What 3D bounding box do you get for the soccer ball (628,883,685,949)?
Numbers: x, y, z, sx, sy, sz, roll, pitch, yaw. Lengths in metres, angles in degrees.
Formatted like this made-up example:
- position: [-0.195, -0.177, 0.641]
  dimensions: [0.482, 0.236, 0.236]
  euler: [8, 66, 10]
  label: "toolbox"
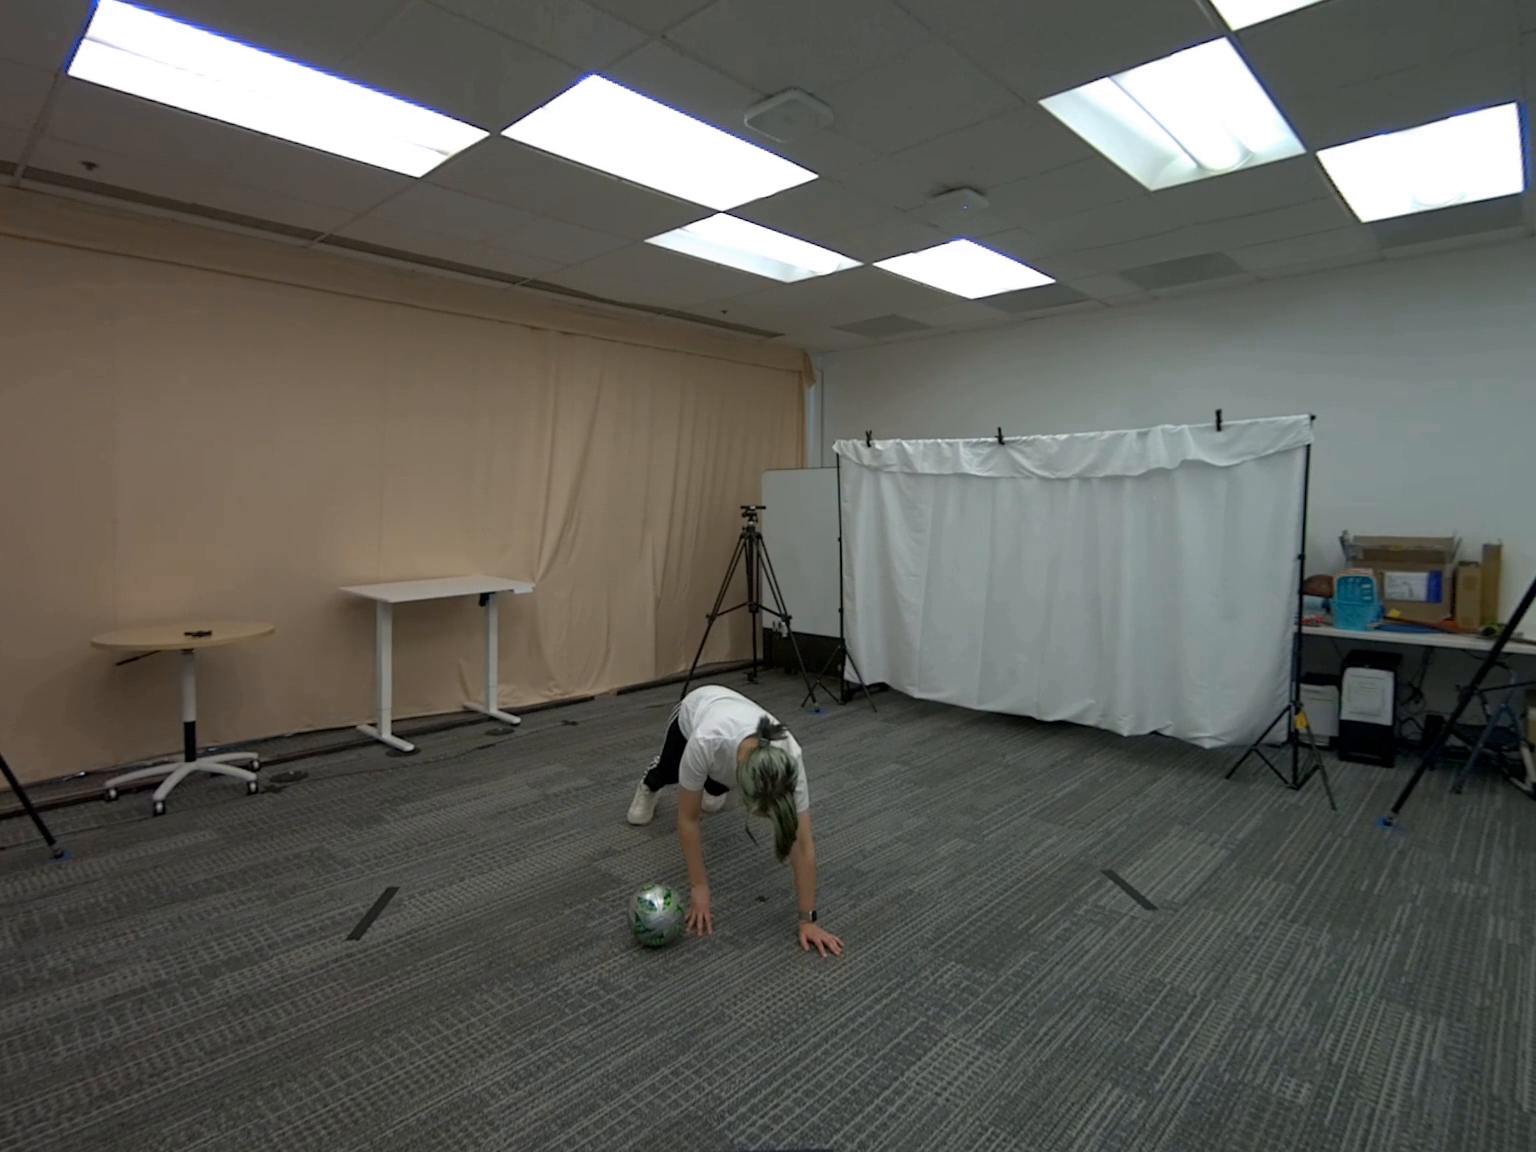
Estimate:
- position: [-0.364, 1.072, 2.687]
  dimensions: [0.187, 0.187, 0.188]
  euler: [0, 4, -2]
  label: "soccer ball"
